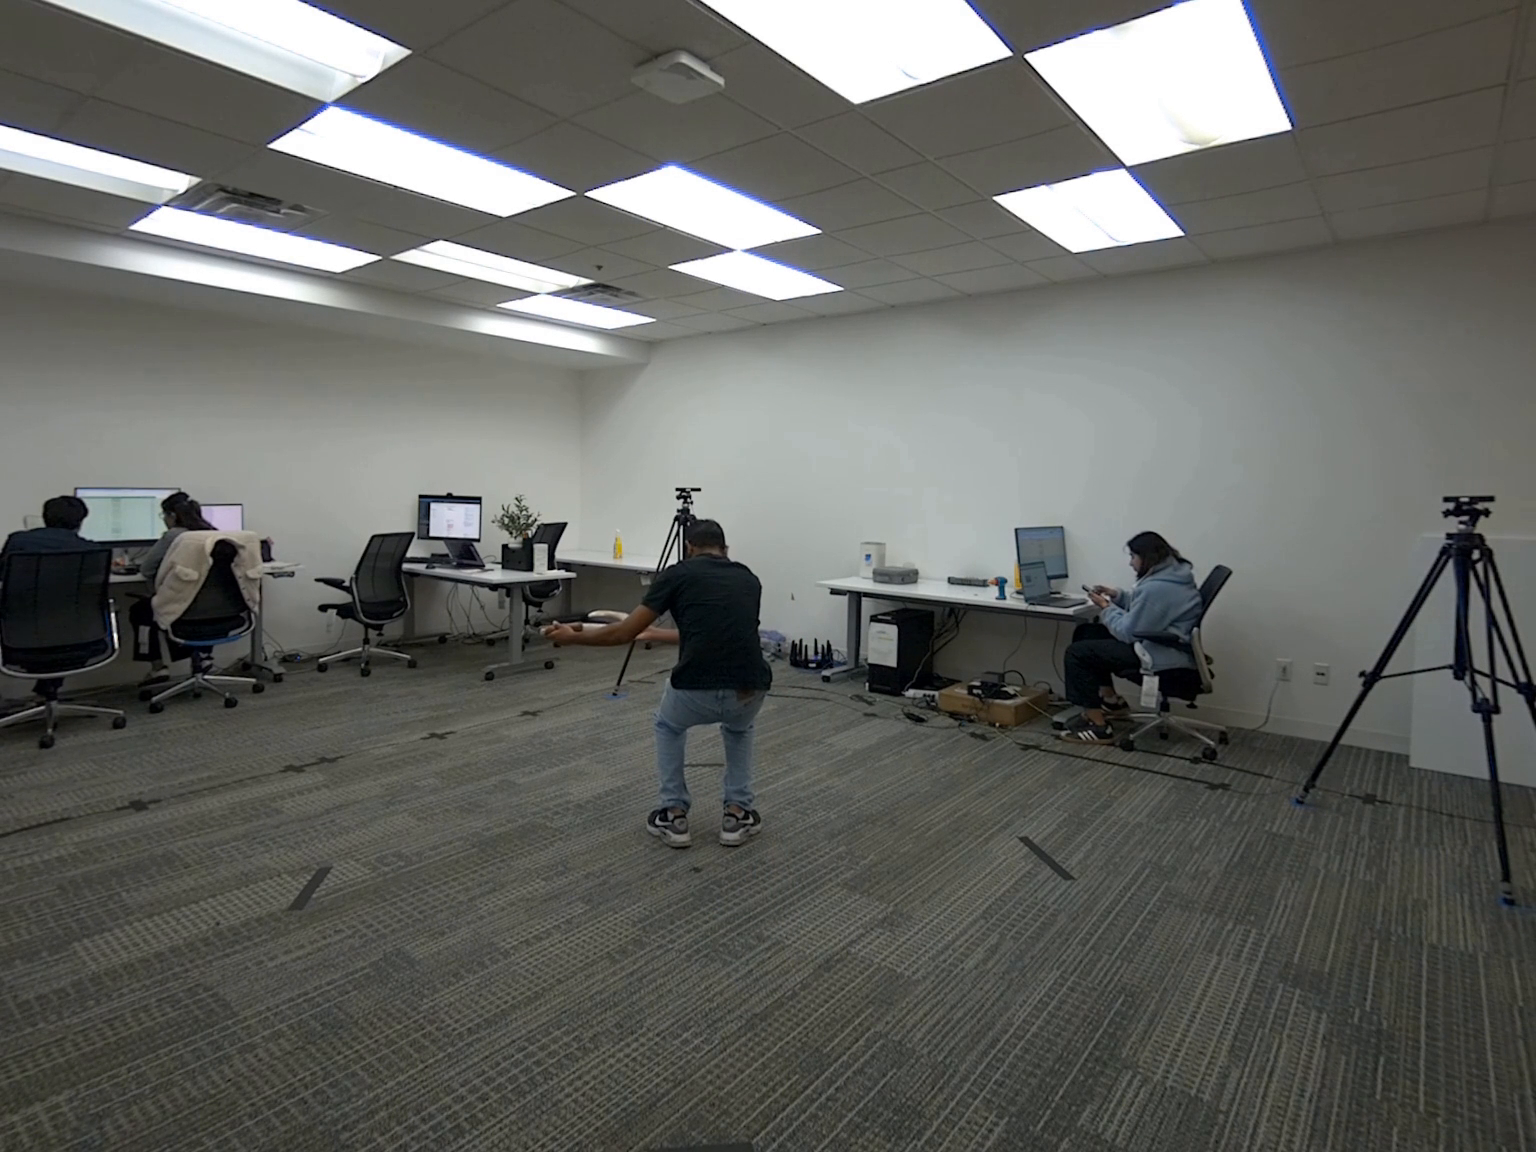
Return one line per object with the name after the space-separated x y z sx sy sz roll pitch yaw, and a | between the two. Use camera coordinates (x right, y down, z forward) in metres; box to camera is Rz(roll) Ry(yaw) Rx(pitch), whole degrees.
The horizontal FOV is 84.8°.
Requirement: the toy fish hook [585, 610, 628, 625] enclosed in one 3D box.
-0.793 0.209 3.725 0.491 0.048 0.234 0 15 -40 | toy fish hook
